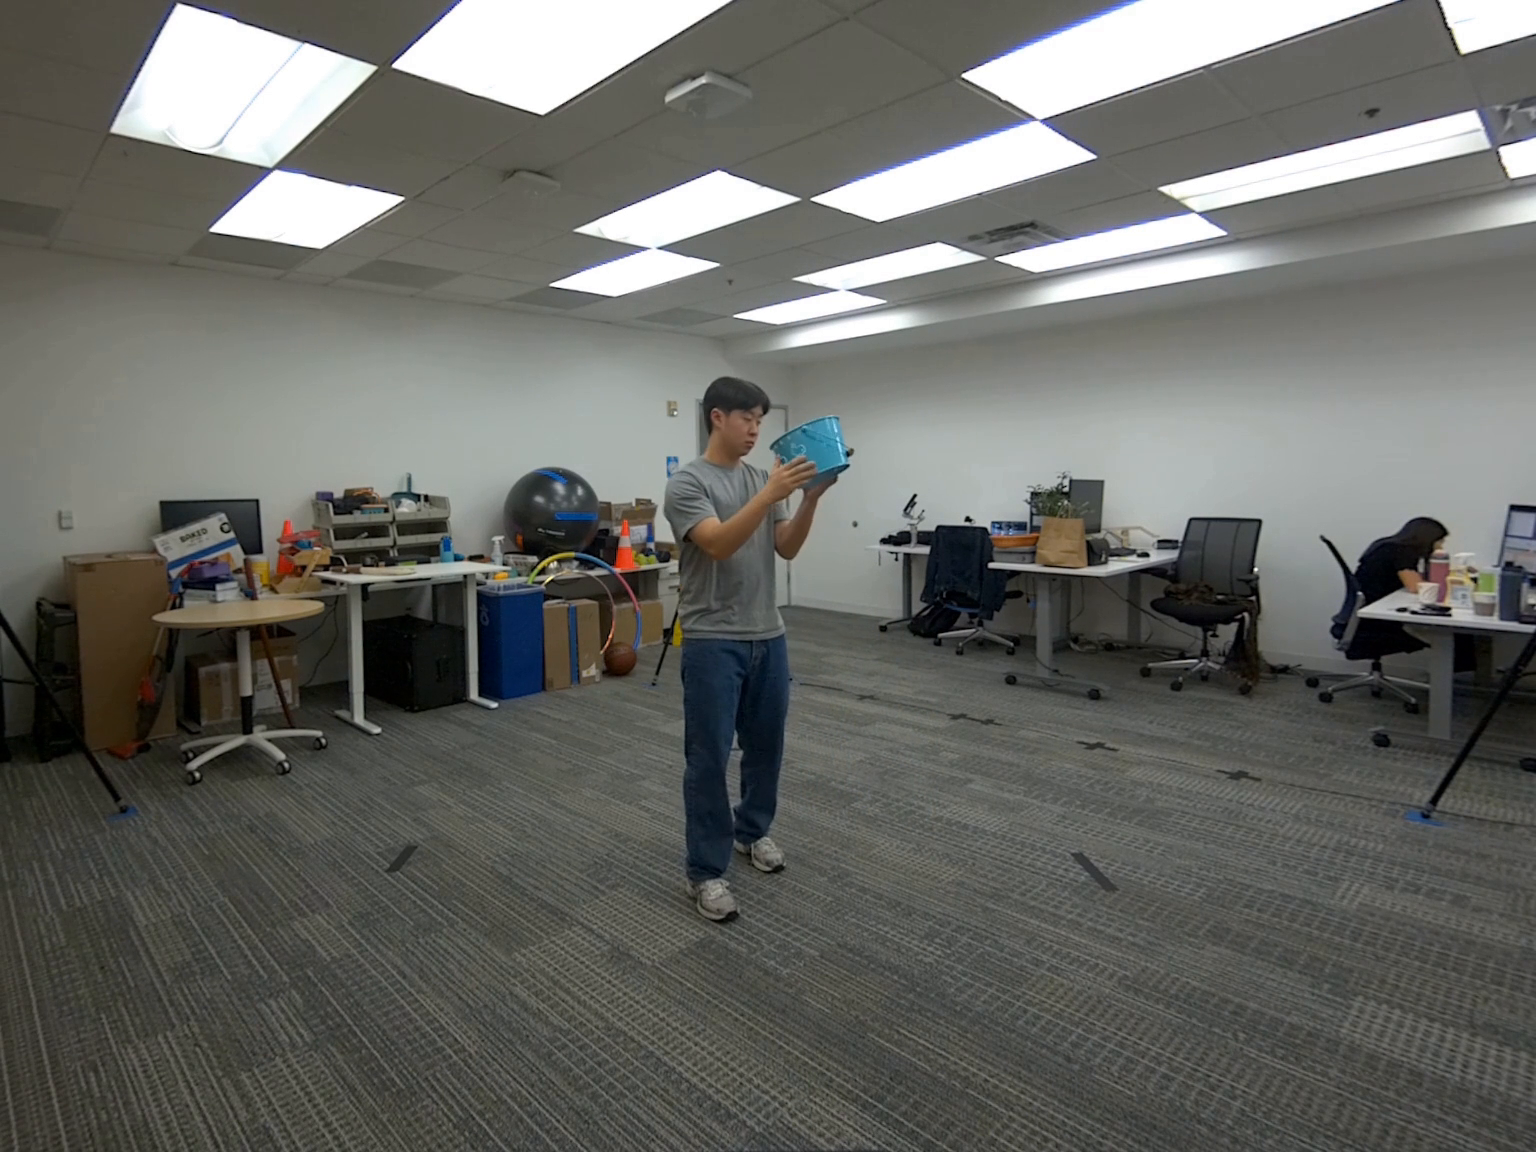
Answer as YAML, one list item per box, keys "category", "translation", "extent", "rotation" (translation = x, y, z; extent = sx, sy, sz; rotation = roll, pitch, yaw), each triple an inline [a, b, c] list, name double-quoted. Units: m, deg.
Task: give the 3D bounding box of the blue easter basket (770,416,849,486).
- category: "blue easter basket"
  translation: [0.144, -0.381, 2.658]
  extent: [0.243, 0.157, 0.242]
  rotation: [-22, -6, -5]
